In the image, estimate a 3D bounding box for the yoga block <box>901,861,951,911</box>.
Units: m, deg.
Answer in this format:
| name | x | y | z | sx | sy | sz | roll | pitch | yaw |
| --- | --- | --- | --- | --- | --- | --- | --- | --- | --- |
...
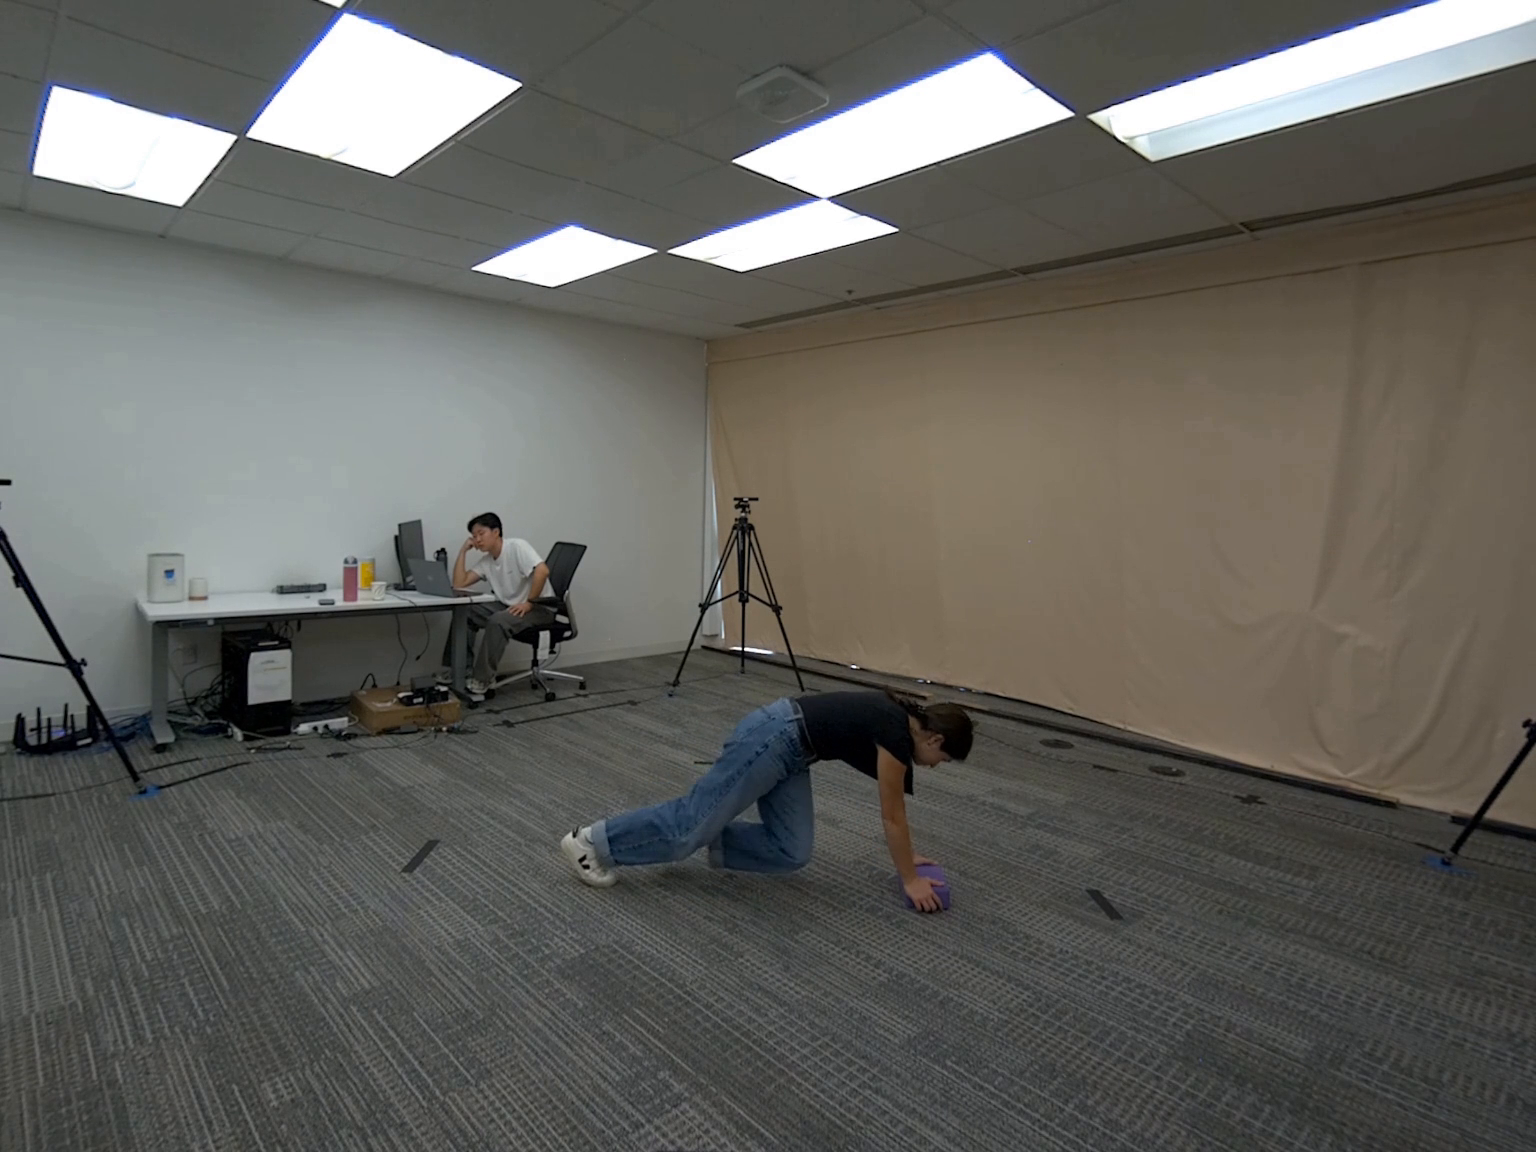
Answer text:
| name | x | y | z | sx | sy | sz | roll | pitch | yaw |
| --- | --- | --- | --- | --- | --- | --- | --- | --- | --- |
| yoga block | 0.547 | 1.098 | 2.989 | 0.149 | 0.076 | 0.229 | 1 | 4 | 2 |
